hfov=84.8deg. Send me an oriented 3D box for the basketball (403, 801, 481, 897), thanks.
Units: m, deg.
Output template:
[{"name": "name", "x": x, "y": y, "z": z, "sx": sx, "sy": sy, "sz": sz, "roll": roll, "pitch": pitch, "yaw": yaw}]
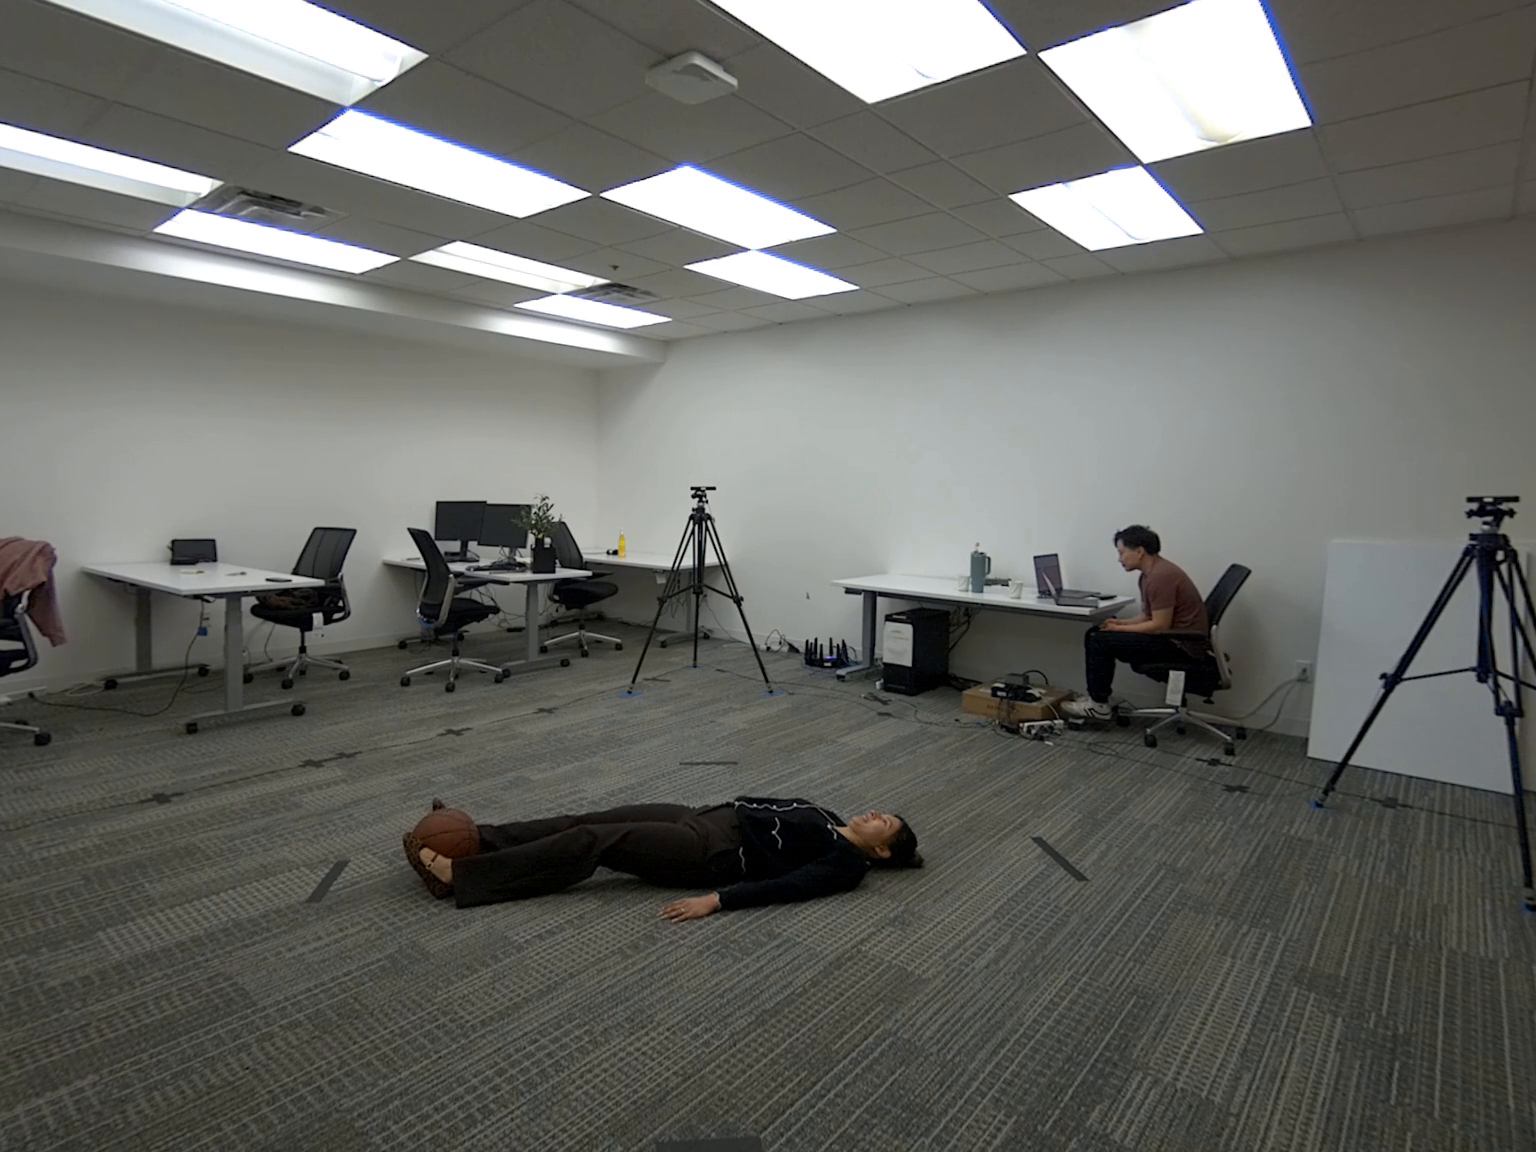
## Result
[{"name": "basketball", "x": -1.155, "y": 0.942, "z": 3.007, "sx": 0.236, "sy": 0.234, "sz": 0.238, "roll": 0, "pitch": 7, "yaw": -2}]
